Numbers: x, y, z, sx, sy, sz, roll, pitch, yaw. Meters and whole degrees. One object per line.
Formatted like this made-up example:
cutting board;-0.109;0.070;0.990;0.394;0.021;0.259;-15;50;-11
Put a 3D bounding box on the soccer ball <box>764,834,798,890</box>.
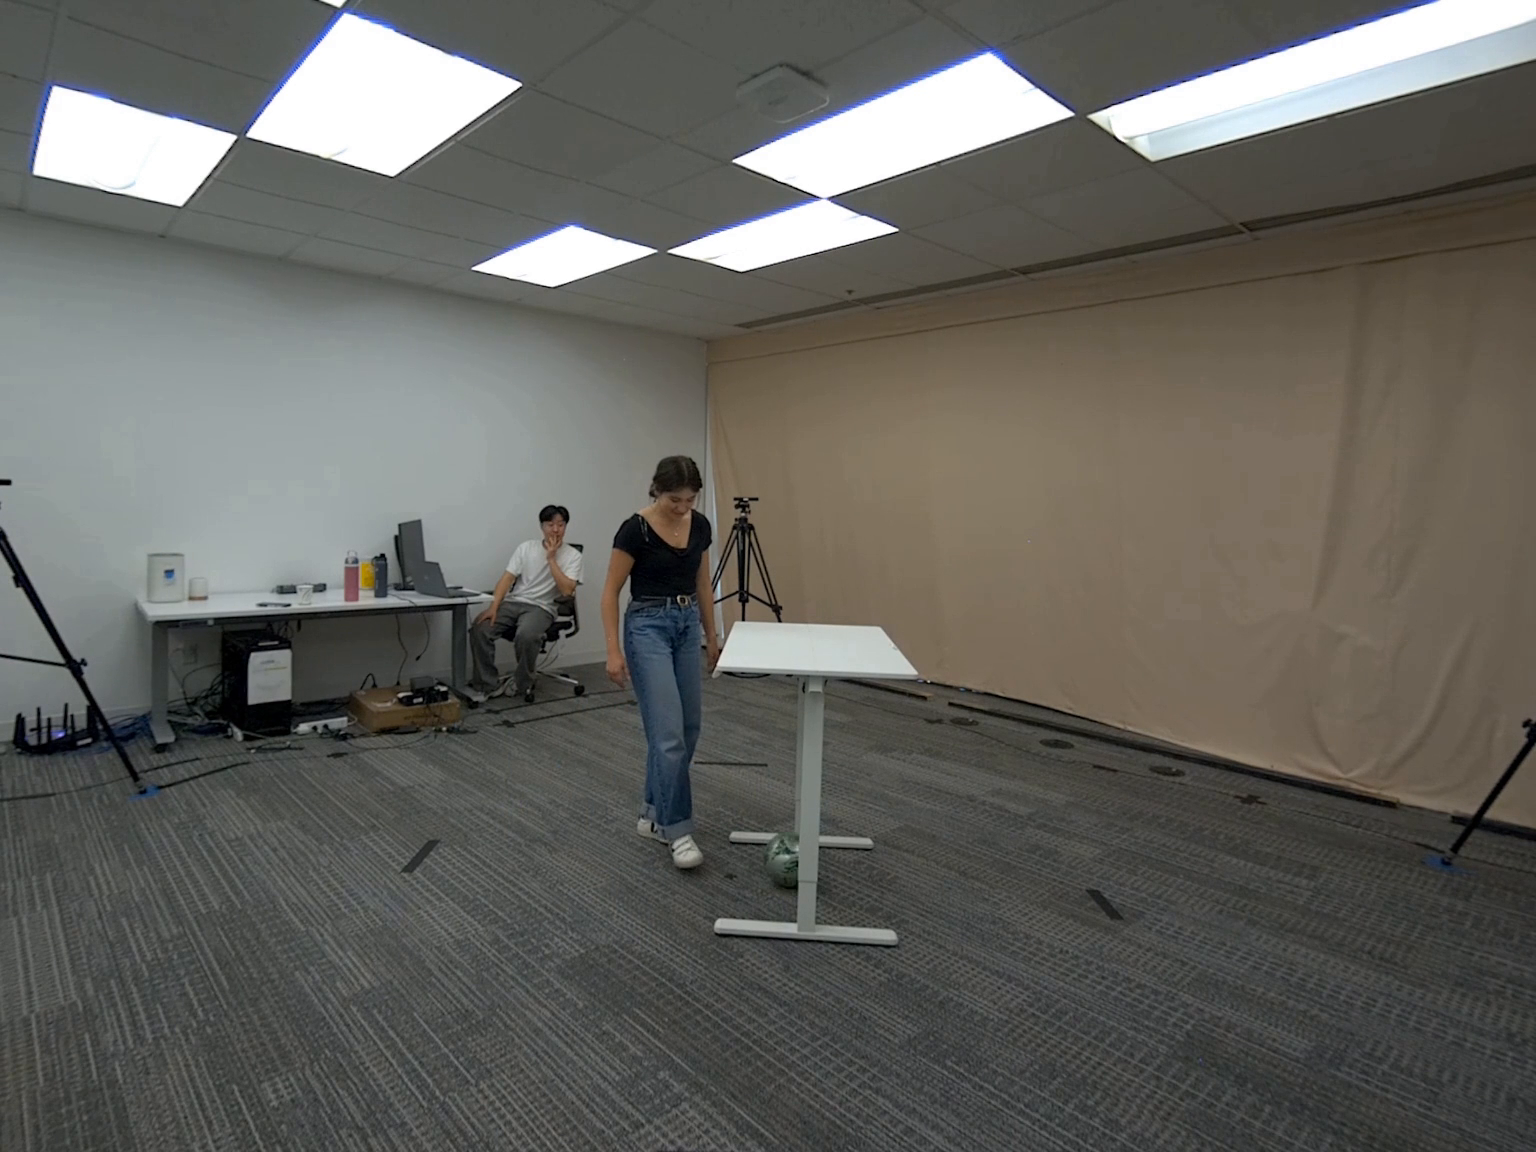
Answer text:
soccer ball;0.063;1.028;3.040;0.187;0.187;0.188;1;4;-1
